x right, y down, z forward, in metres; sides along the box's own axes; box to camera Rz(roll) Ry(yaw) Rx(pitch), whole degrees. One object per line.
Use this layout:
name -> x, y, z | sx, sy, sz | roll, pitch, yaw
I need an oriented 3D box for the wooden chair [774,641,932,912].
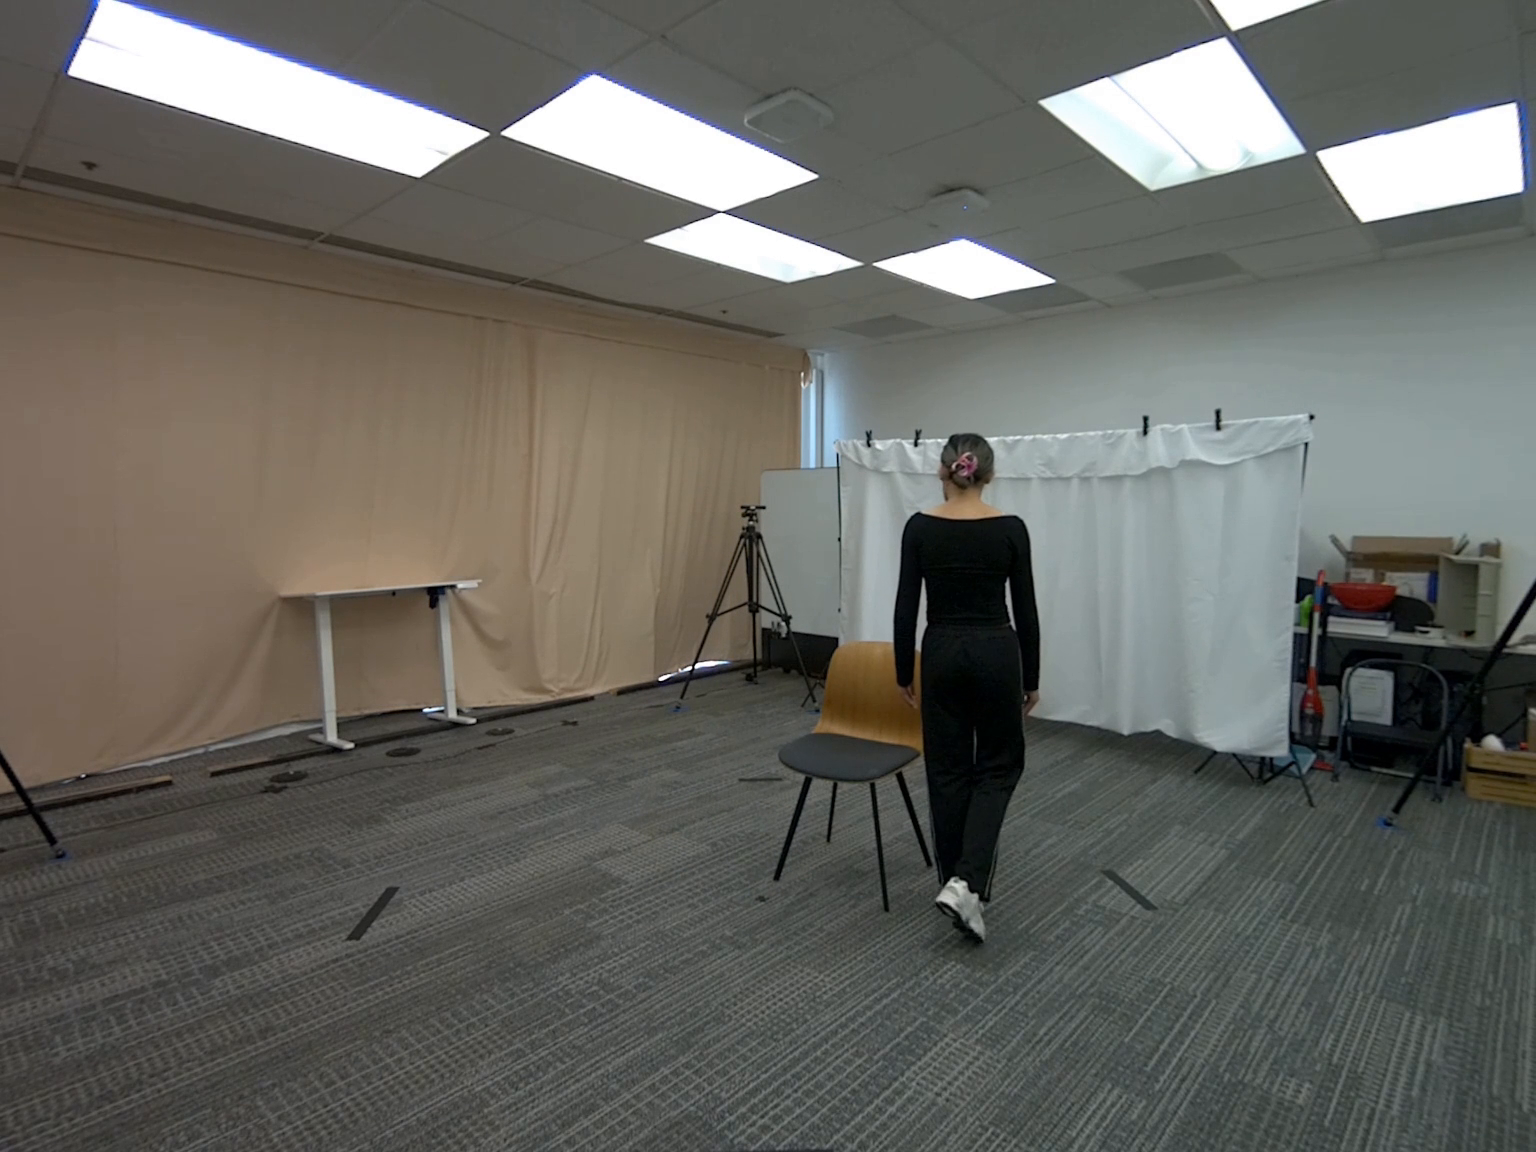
wooden chair -> 0.324, 0.701, 3.156 | 0.492, 0.877, 0.507 | 2, 0, 32
